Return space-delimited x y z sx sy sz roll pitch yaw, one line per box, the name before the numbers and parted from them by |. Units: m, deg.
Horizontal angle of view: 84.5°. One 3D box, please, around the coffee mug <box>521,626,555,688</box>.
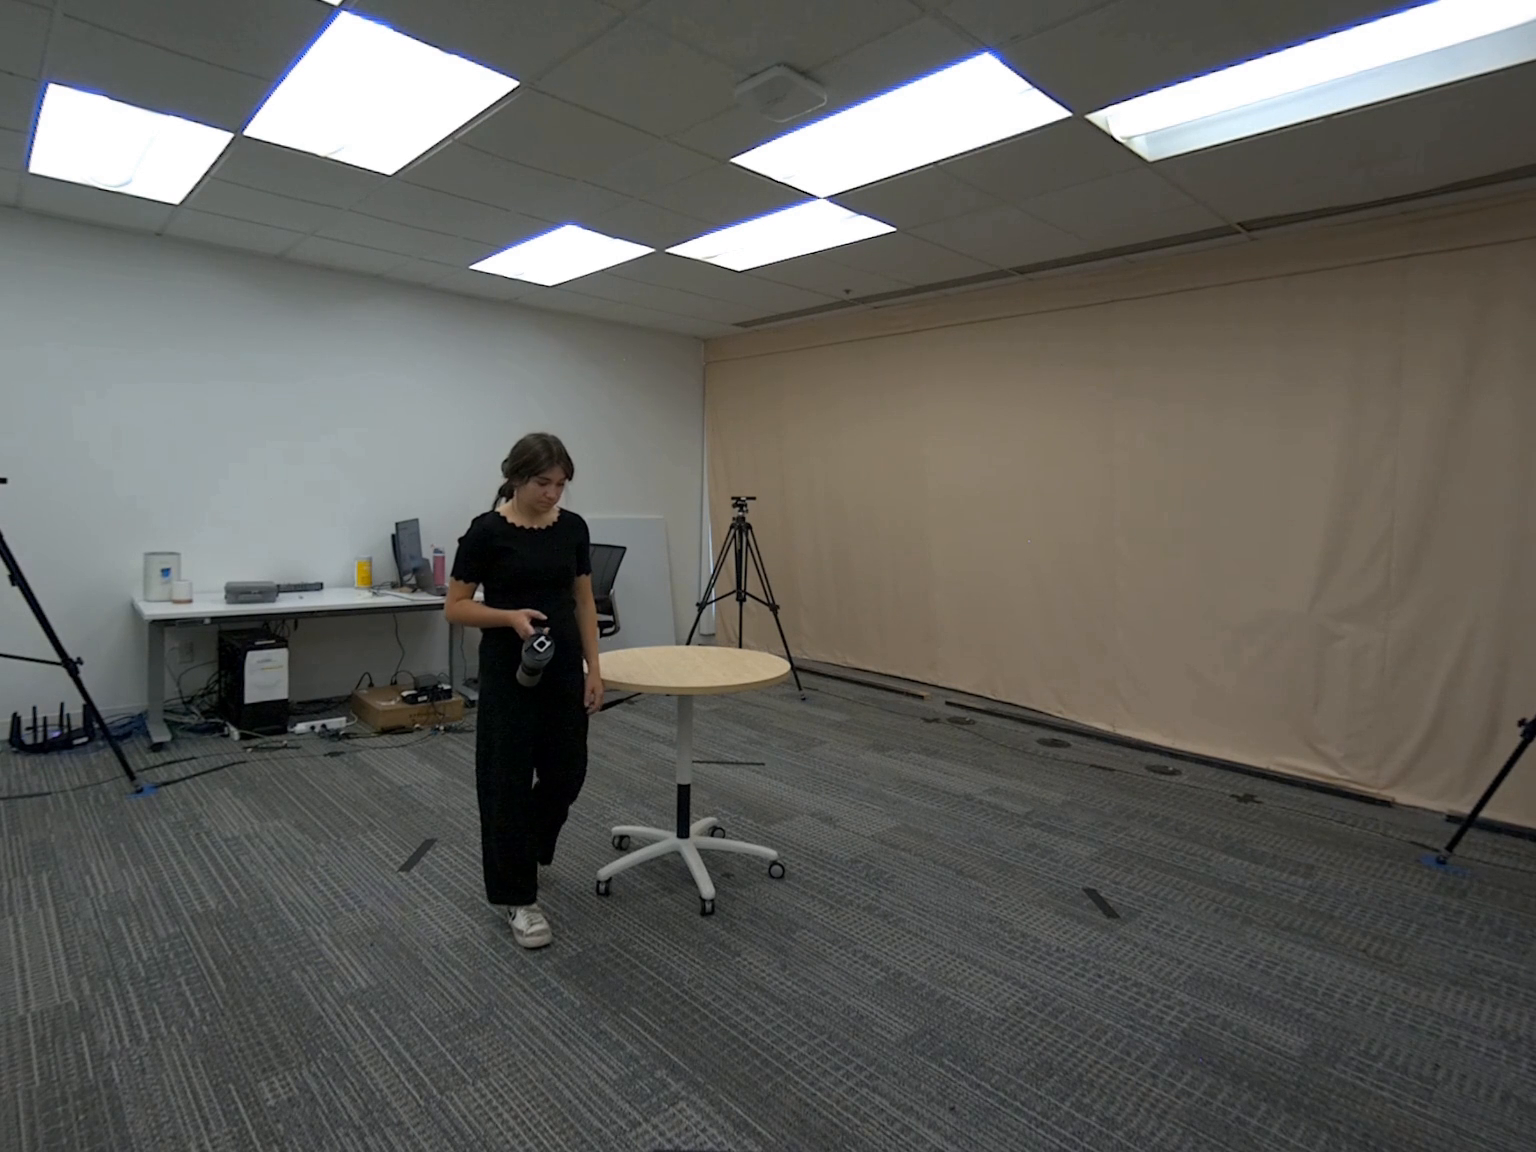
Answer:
coffee mug | -0.676 0.245 2.518 0.086 0.124 0.202 4 -30 -22
